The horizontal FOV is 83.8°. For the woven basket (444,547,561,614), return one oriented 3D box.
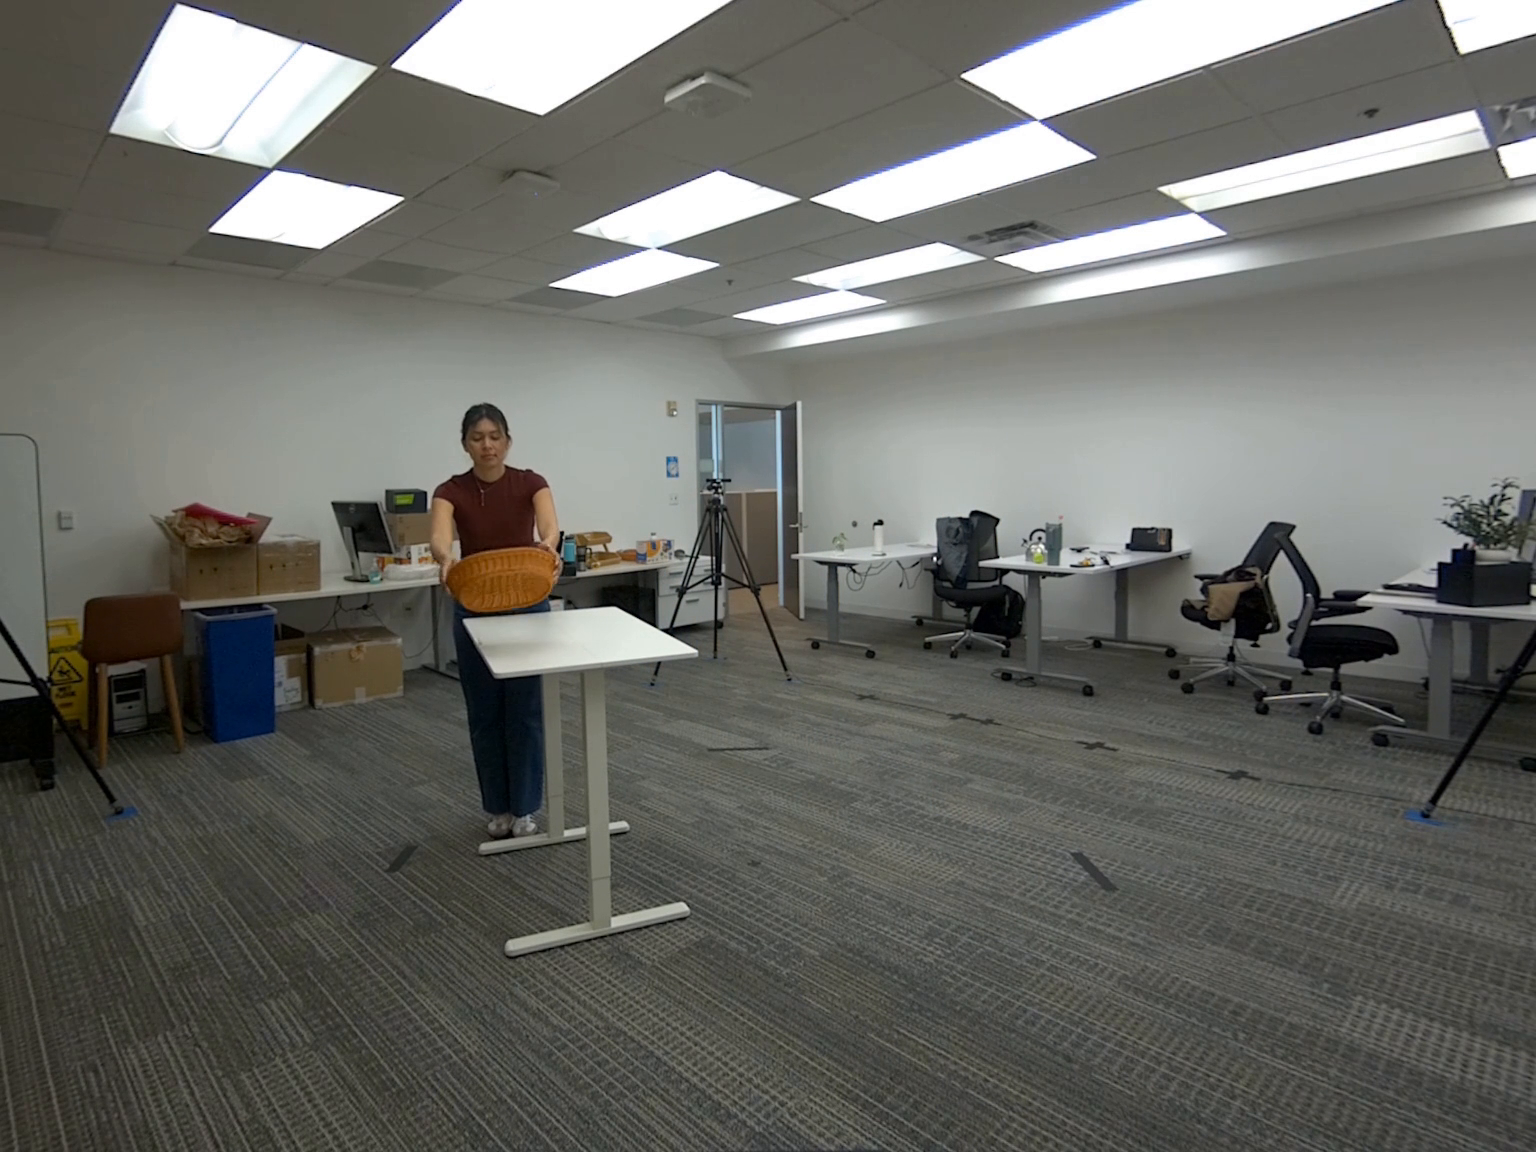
[{"bbox_3d":[-0.834,0.021,2.659,0.346,0.076,0.247,-9,-38,-16],"label":"woven basket"}]
